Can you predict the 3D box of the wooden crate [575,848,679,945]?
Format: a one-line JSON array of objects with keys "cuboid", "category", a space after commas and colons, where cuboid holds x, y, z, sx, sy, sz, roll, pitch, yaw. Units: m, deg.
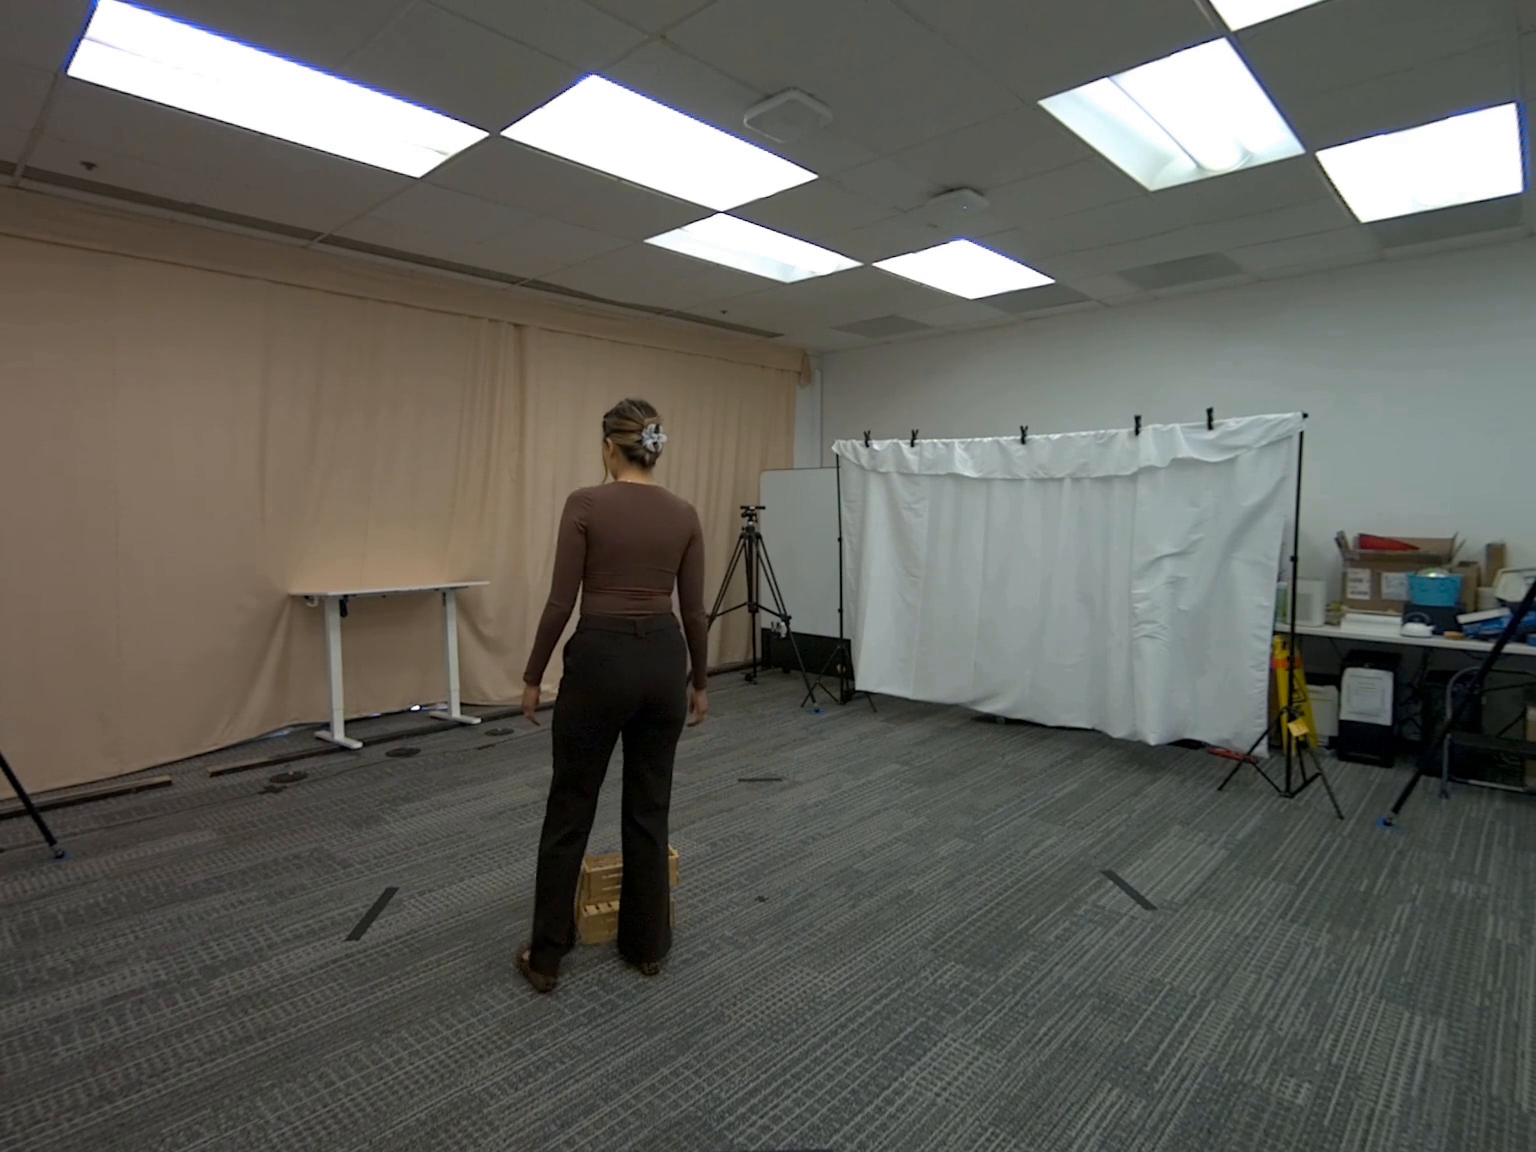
[{"cuboid": [-0.490, 1.028, 2.813, 0.317, 0.272, 0.309, -2, 5, -23], "category": "wooden crate"}]
